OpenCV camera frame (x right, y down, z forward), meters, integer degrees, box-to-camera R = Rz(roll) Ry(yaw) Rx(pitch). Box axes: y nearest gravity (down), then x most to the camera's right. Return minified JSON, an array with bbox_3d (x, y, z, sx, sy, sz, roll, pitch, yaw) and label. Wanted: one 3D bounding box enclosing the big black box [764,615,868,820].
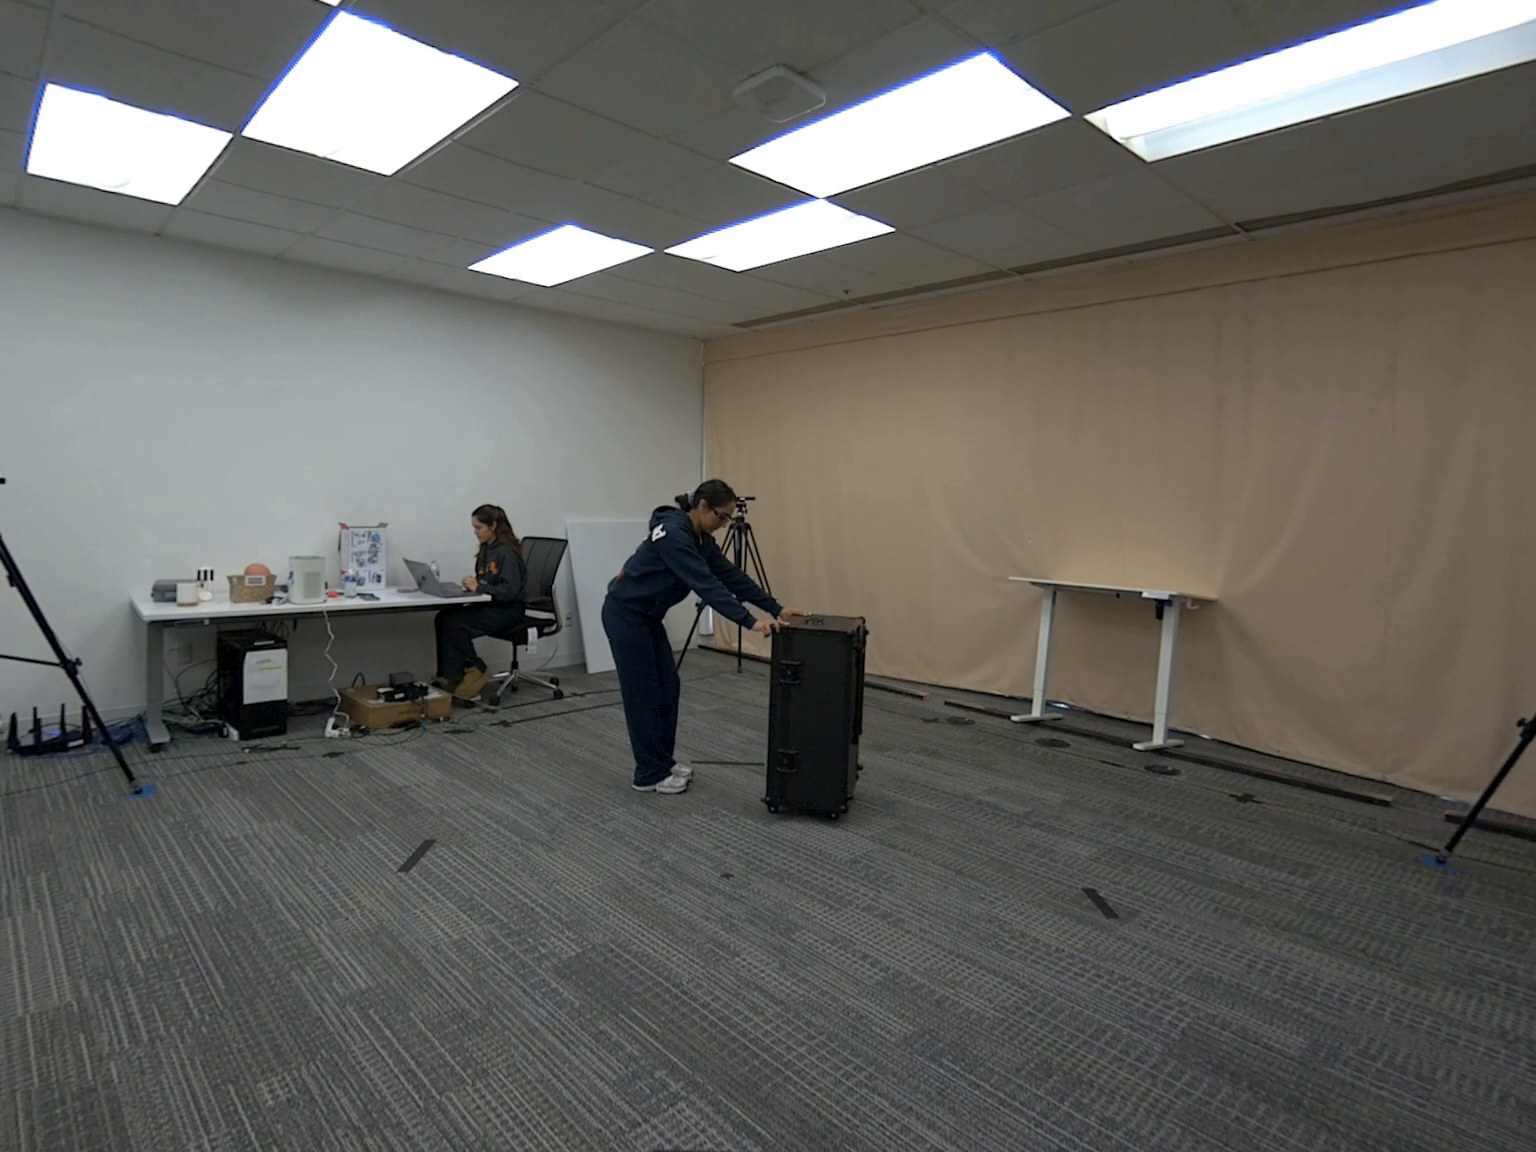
[{"bbox_3d":[0.212,0.625,3.835,0.401,0.859,0.516,3,4,13],"label":"big black box"}]
